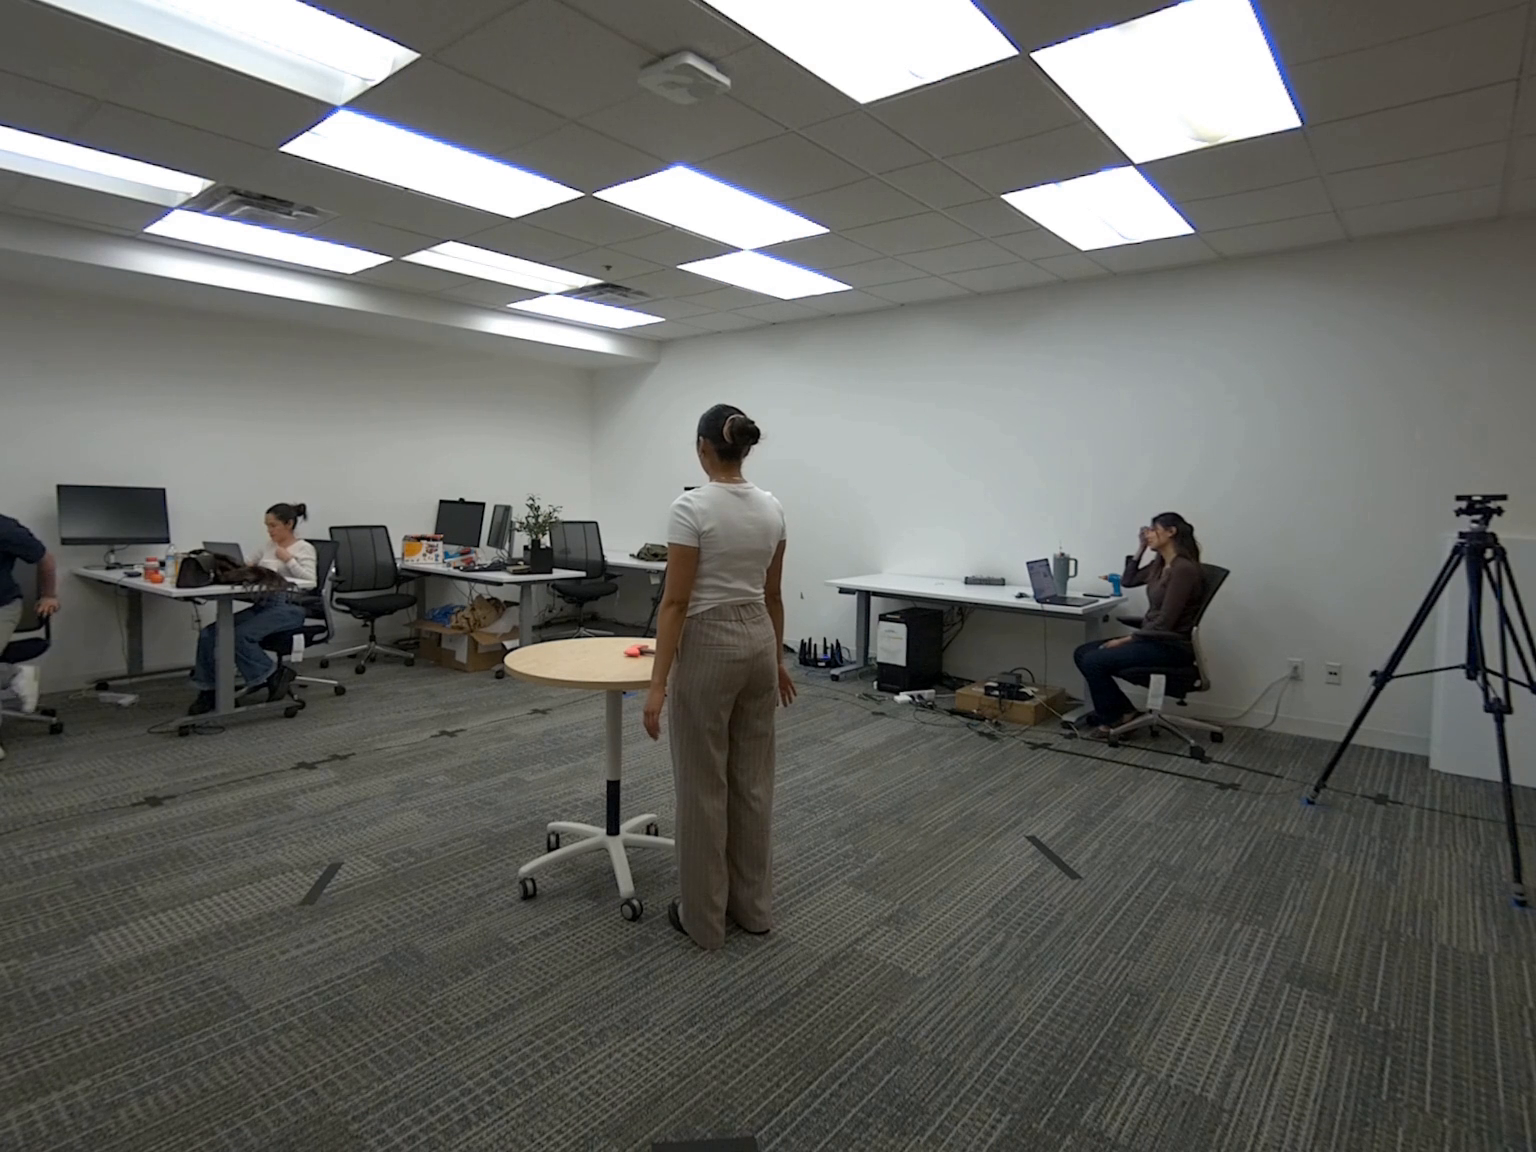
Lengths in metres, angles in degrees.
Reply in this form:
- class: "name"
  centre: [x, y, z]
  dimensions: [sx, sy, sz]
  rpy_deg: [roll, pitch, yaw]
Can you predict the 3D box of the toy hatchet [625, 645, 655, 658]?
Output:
- class: "toy hatchet"
  centre: [-0.413, 0.278, 3.011]
  dimensions: [0.127, 0.029, 0.280]
  rpy_deg: [-5, 10, -41]
